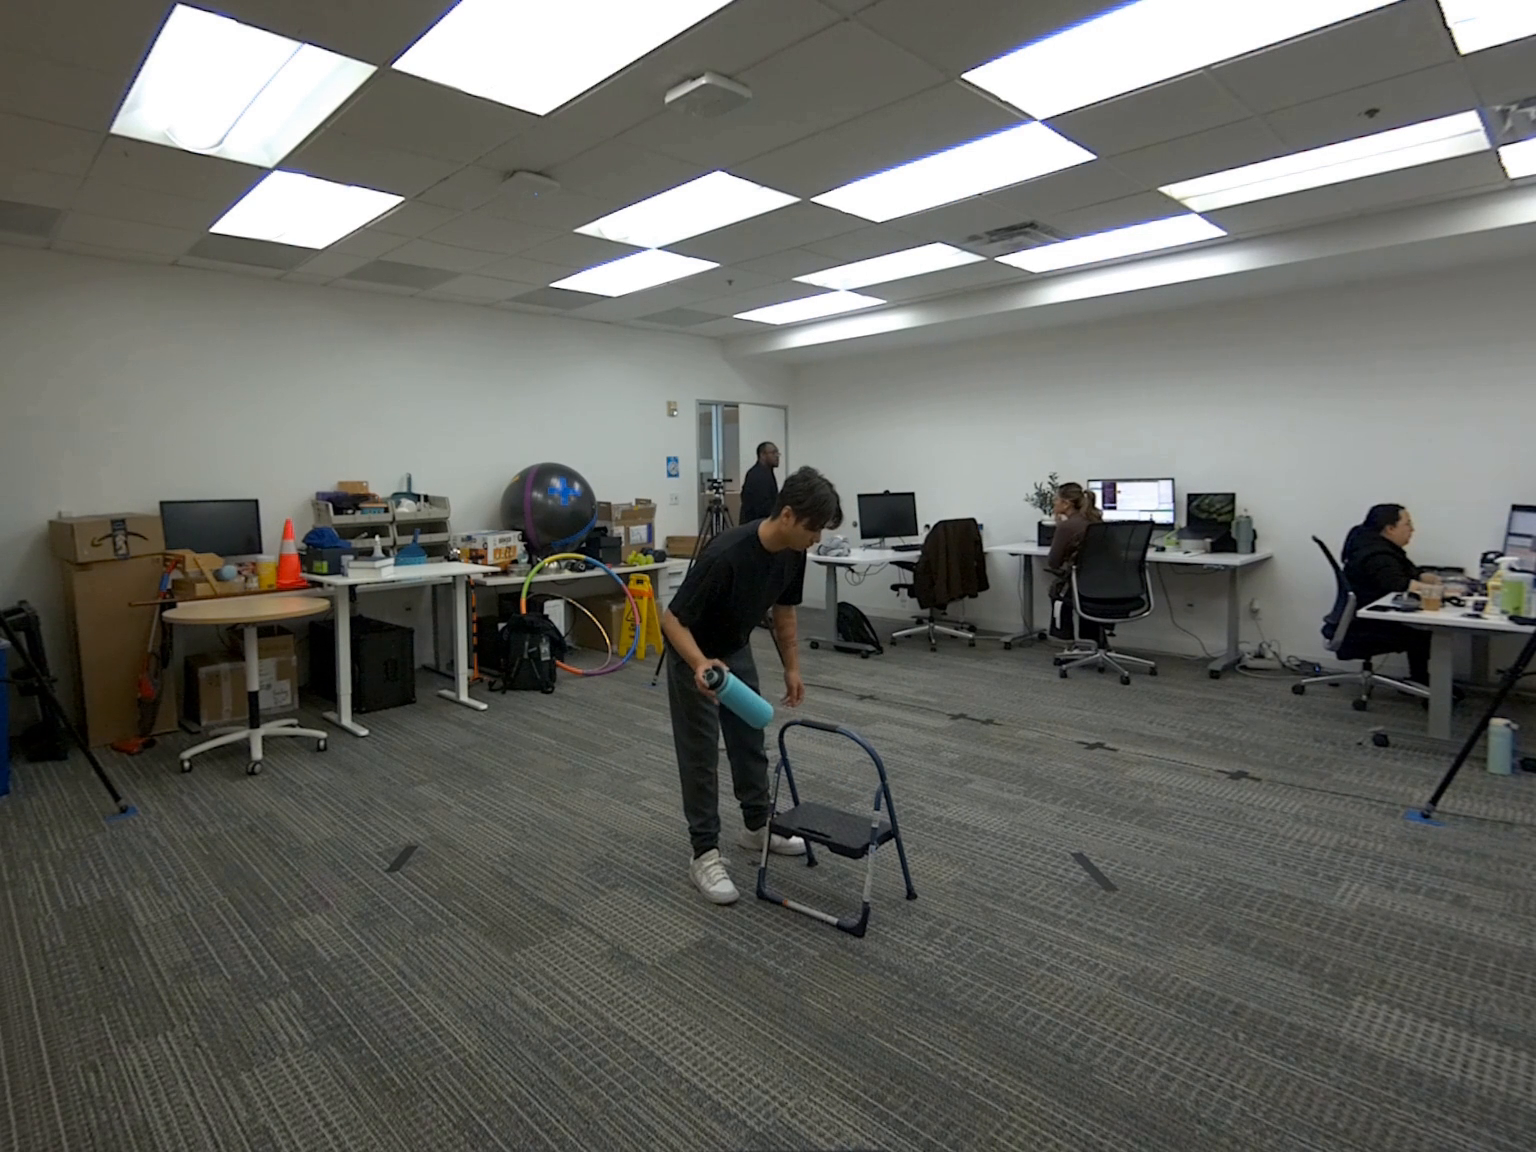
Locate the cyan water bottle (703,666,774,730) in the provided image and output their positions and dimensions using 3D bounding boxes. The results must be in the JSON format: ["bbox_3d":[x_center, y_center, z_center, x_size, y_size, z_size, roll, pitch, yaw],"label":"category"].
[{"bbox_3d":[-0.097,0.379,2.639,0.095,0.093,0.273,4,-33,47],"label":"cyan water bottle"}]
